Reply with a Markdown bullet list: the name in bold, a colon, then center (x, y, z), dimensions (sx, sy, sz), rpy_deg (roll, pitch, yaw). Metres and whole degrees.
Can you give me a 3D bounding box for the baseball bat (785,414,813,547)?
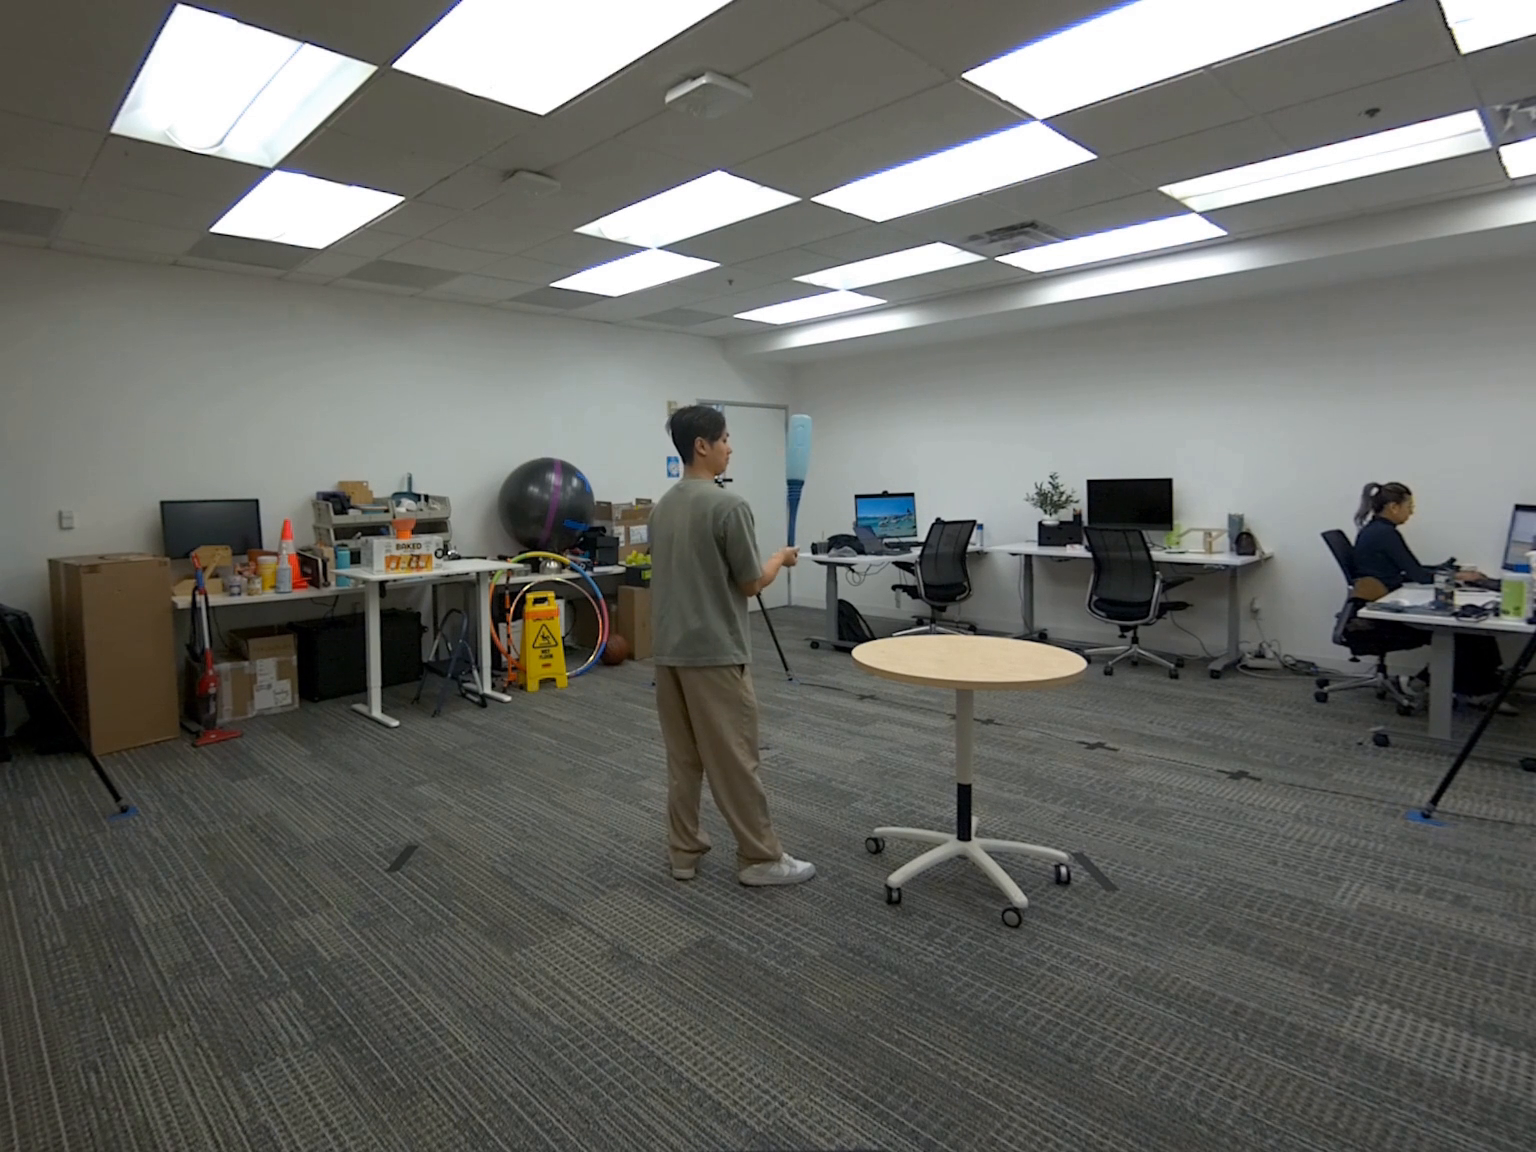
- **baseball bat**: center (0.112, -0.325, 3.204), dimensions (0.089, 0.546, 0.088), rpy_deg (5, -7, -1)
